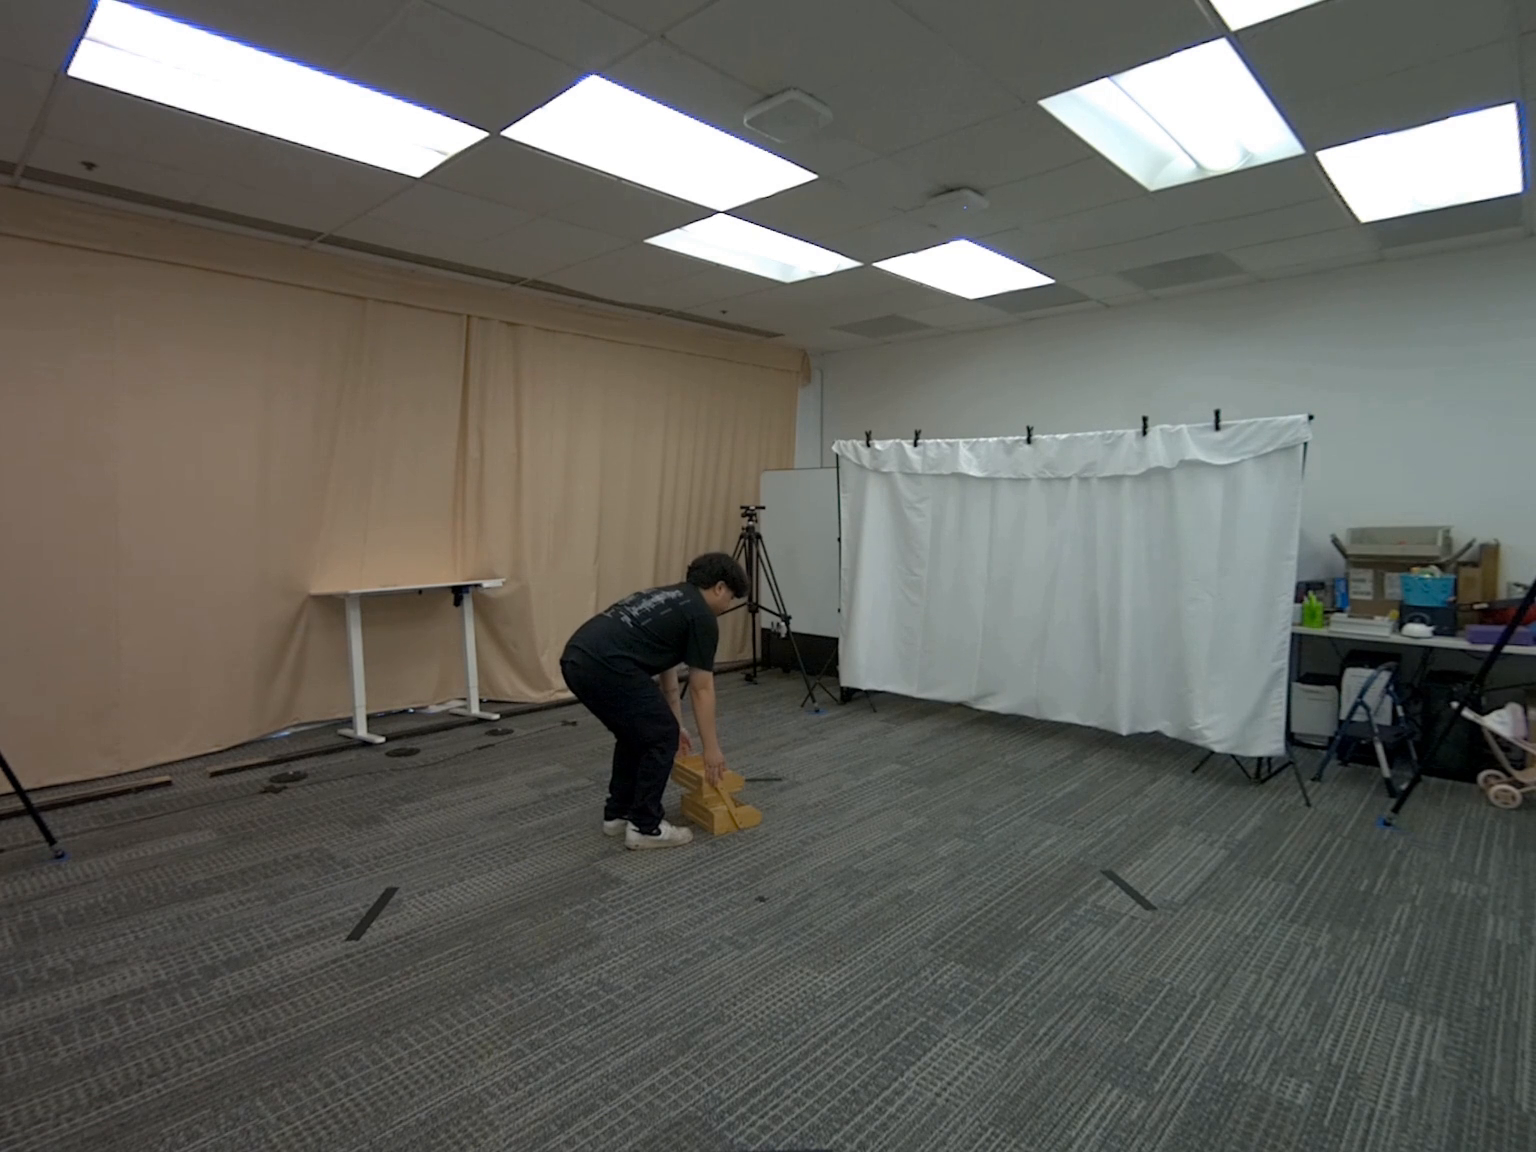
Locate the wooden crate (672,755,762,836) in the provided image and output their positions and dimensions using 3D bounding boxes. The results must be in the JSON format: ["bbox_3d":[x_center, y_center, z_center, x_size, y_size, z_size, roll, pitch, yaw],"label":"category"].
[{"bbox_3d":[-0.231,0.954,3.734,0.294,0.273,0.334,-4,5,-32],"label":"wooden crate"}]
